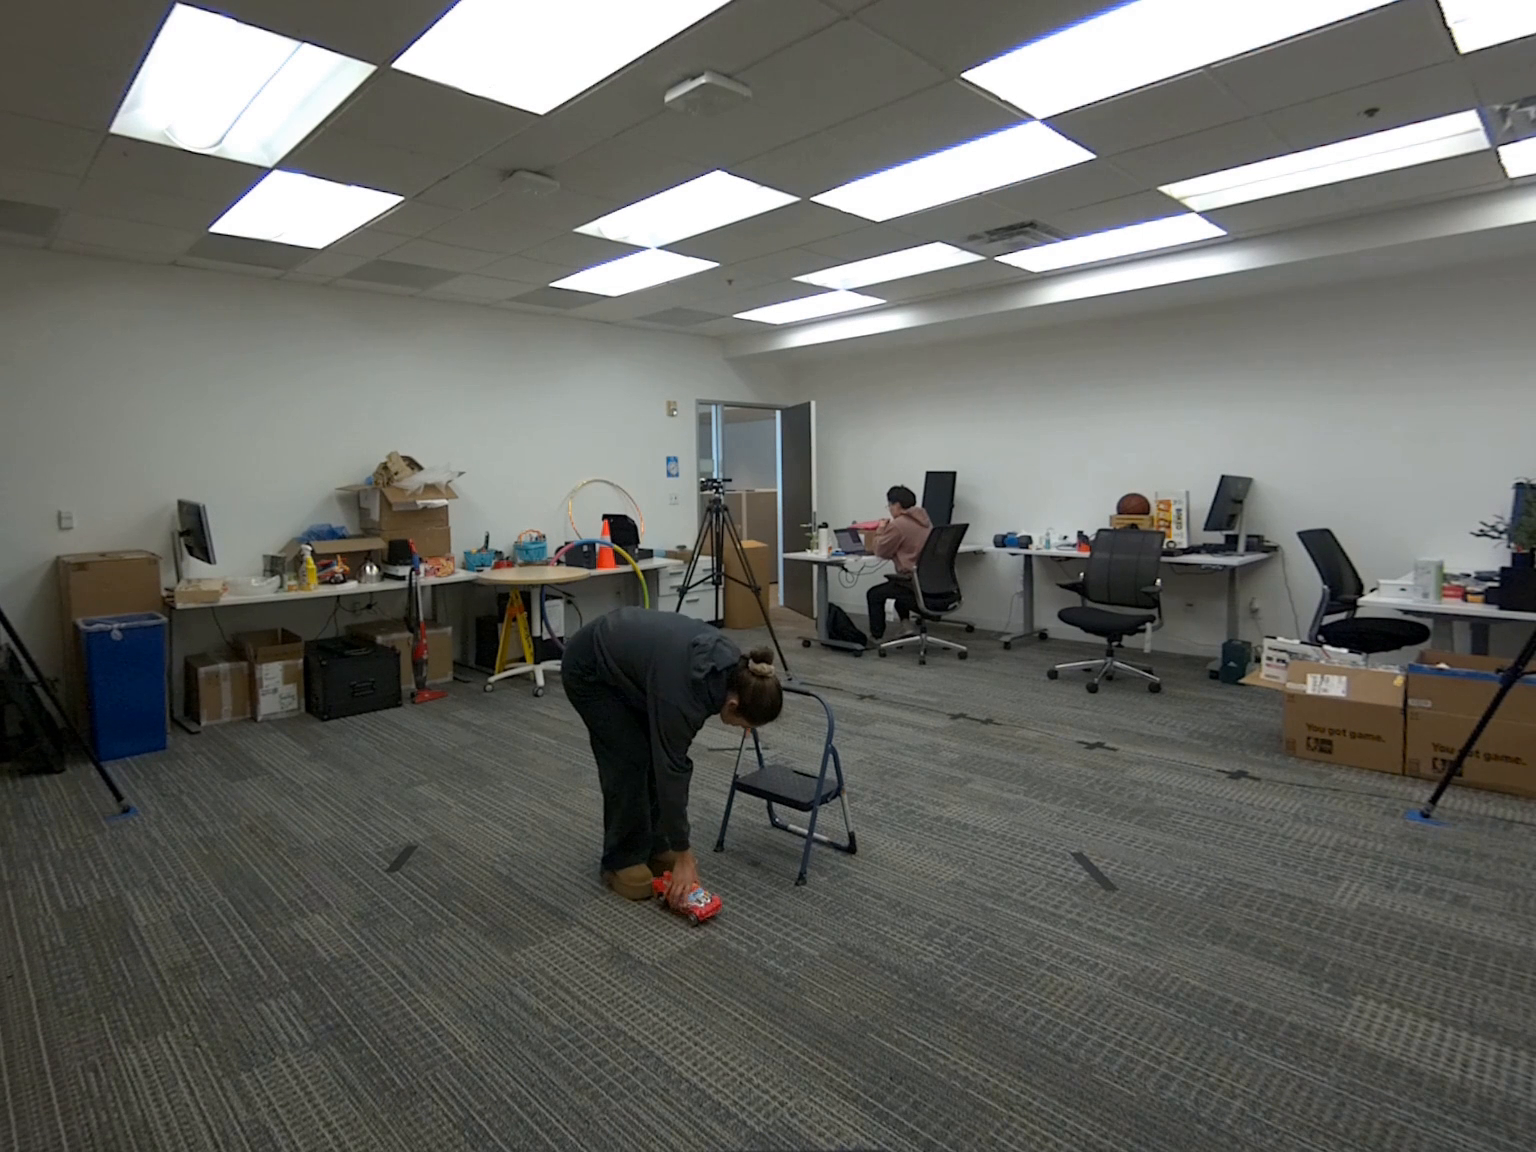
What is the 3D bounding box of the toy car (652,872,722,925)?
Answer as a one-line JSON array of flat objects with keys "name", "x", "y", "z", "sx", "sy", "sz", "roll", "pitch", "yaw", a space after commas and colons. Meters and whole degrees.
[{"name": "toy car", "x": -0.271, "y": 1.033, "z": 2.763, "sx": 0.127, "sy": 0.082, "sz": 0.264, "roll": -13, "pitch": 26, "yaw": -44}]
